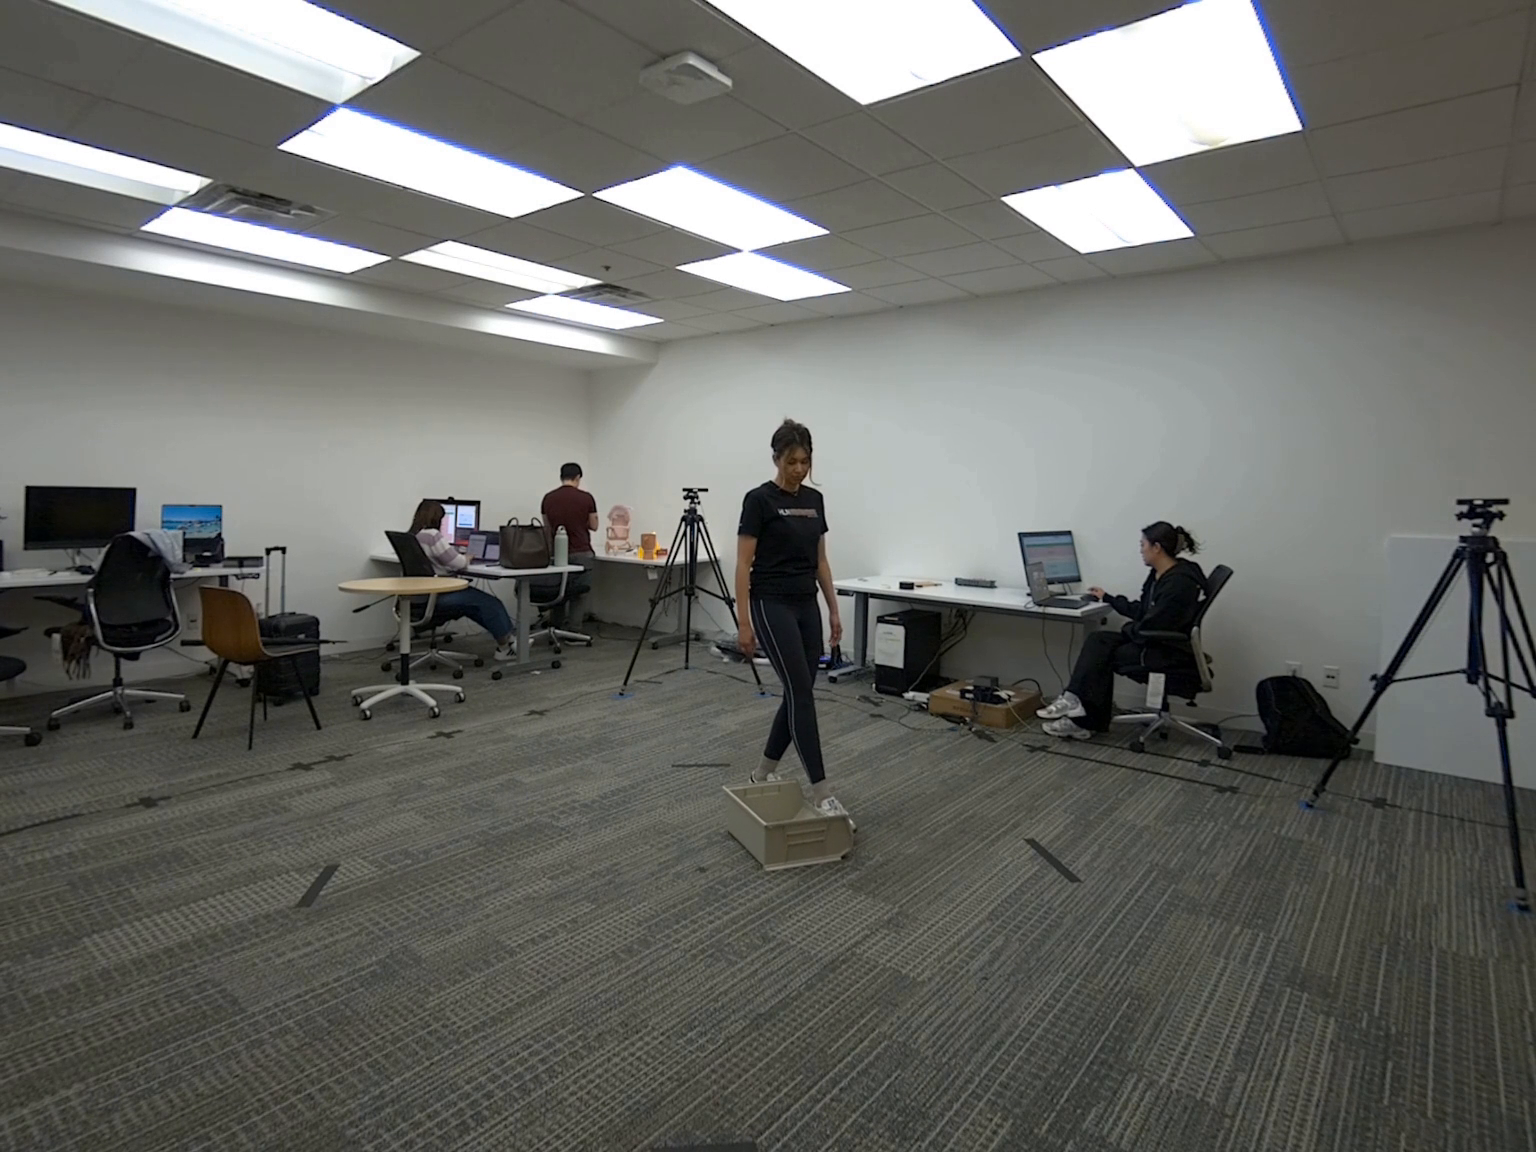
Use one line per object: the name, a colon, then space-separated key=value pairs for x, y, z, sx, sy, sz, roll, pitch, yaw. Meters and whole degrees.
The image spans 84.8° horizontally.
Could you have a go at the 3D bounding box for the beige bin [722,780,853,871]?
beige bin: x=0.058 y=0.963 z=3.349 sx=0.369 sy=0.188 sz=0.434 roll=-2 pitch=7 yaw=-24
